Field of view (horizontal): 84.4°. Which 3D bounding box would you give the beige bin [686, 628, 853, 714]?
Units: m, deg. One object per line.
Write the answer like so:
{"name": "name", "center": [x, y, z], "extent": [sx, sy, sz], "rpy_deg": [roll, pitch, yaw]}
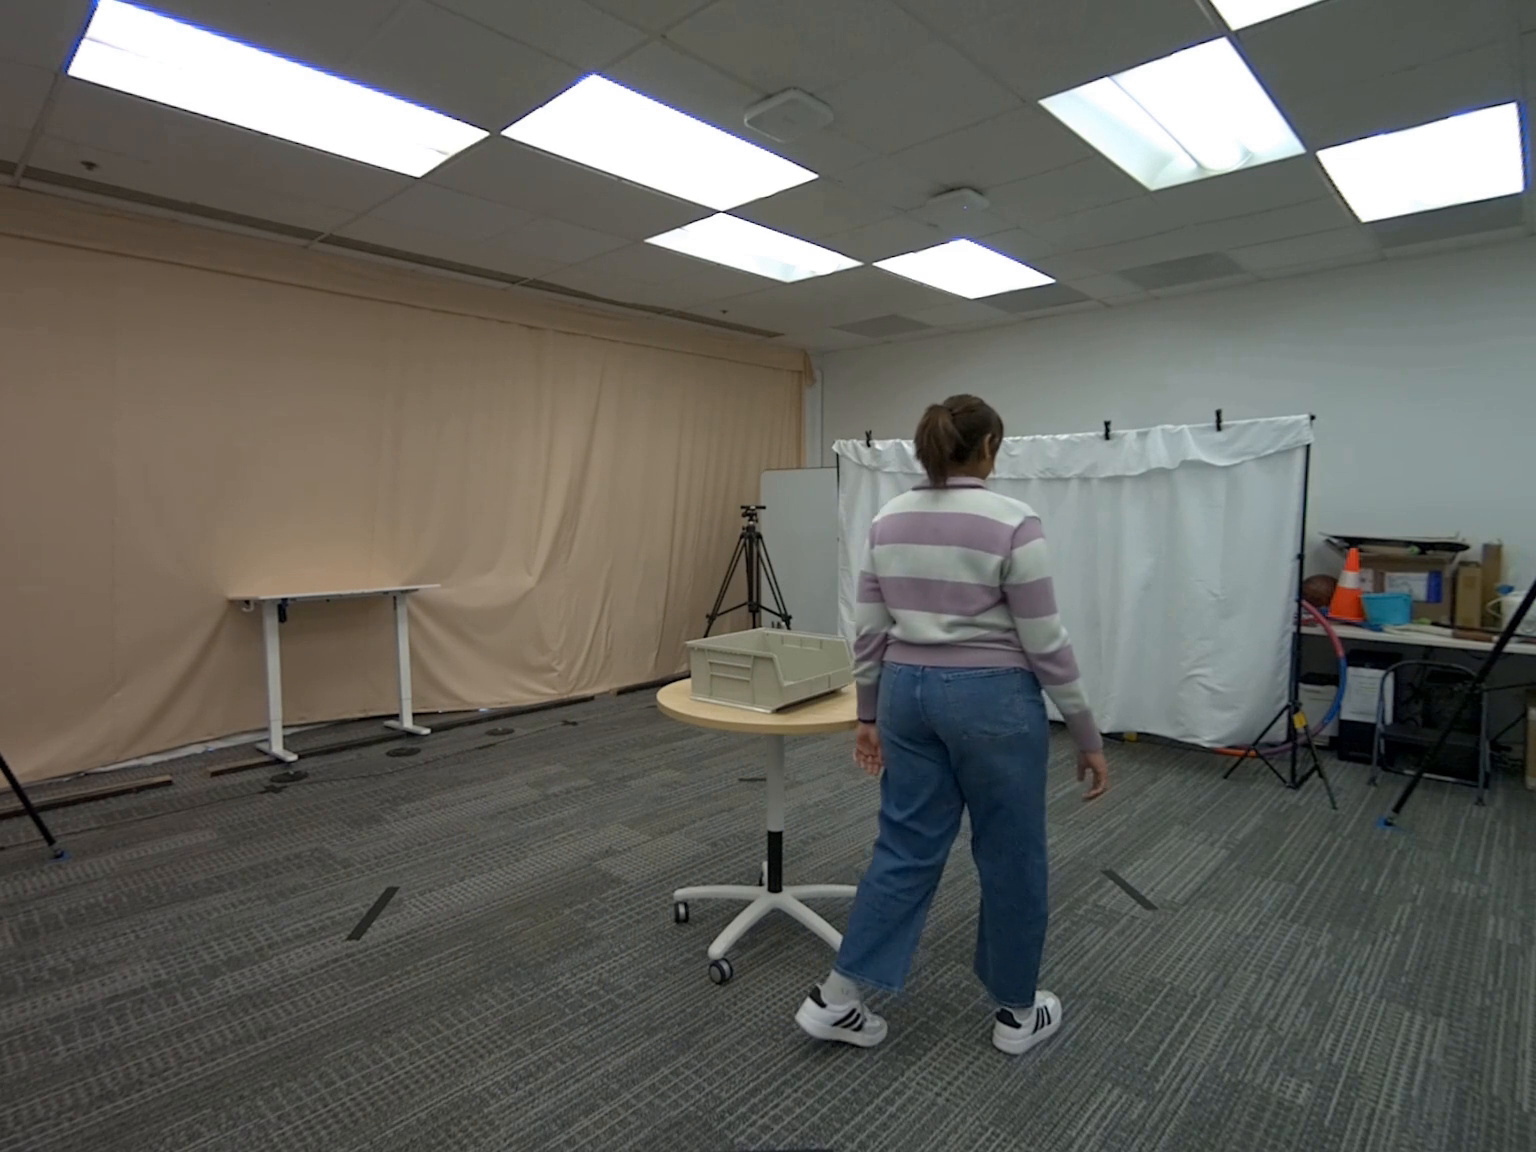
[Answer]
{"name": "beige bin", "center": [0.017, 0.297, 2.690], "extent": [0.389, 0.188, 0.410], "rpy_deg": [2, 5, 37]}
